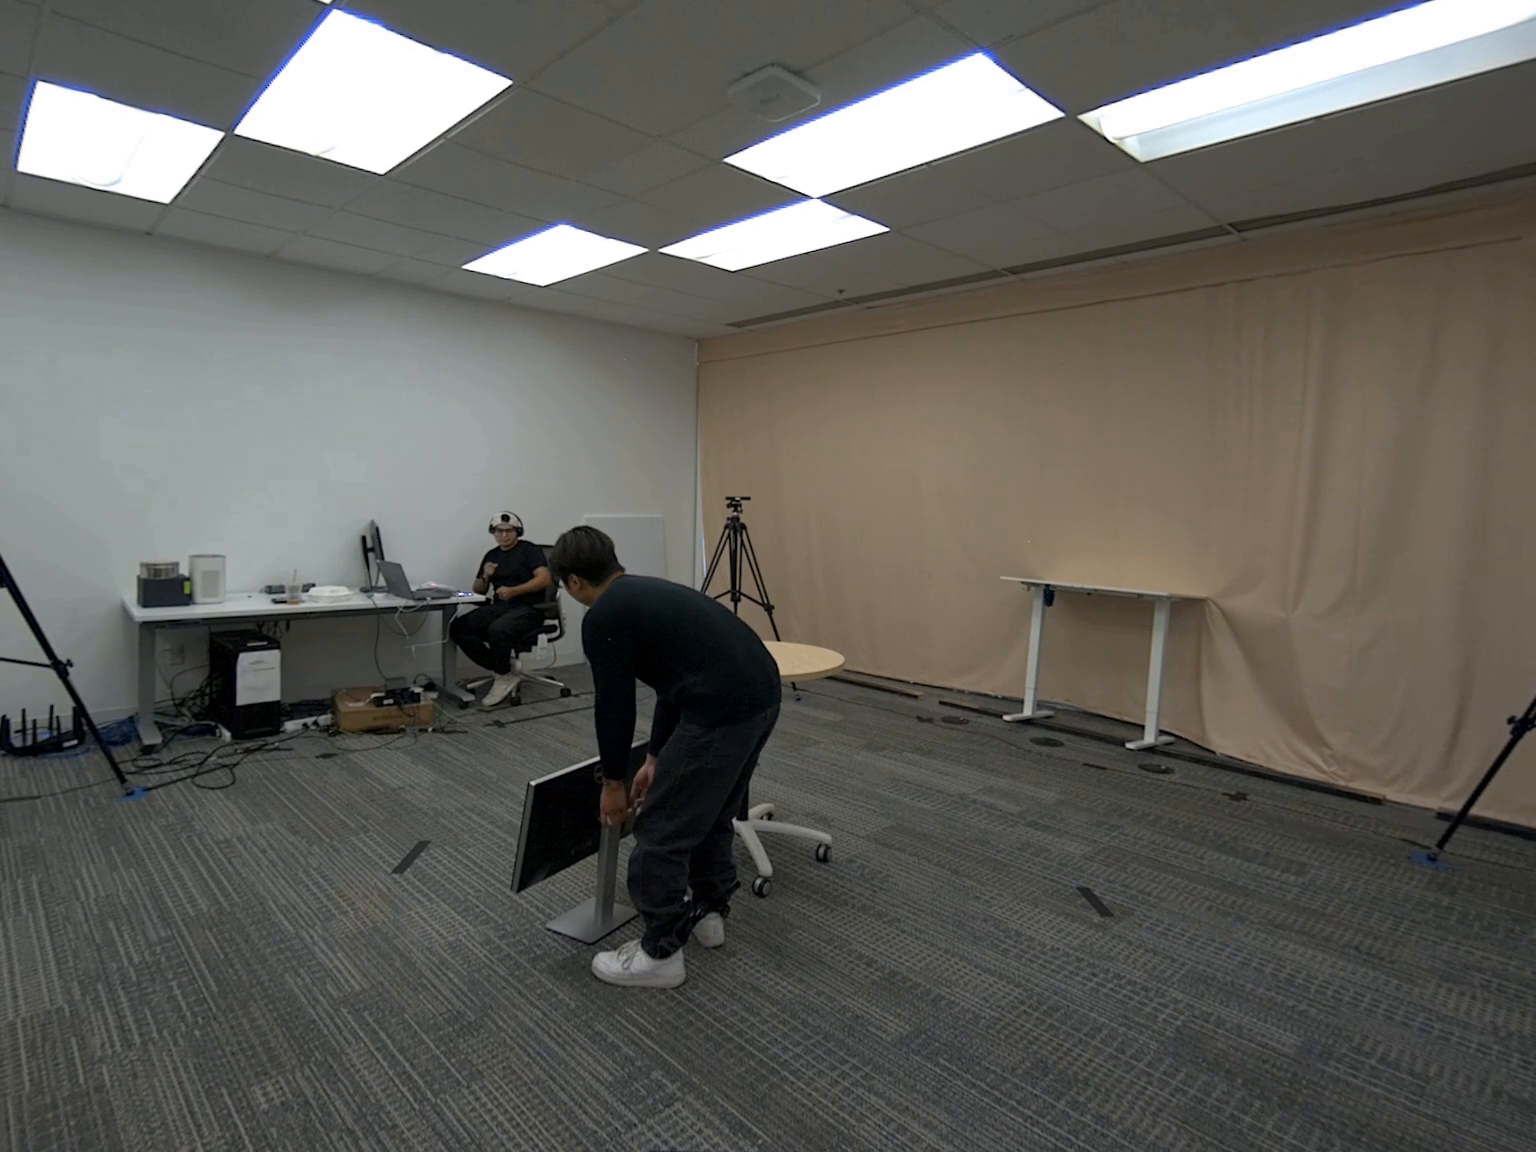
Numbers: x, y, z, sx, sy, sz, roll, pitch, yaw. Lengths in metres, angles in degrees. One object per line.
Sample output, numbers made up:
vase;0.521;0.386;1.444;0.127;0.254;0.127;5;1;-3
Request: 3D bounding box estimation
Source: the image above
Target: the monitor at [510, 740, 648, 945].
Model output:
monitor;-0.576;0.866;2.736;0.191;0.521;0.528;2;4;31
